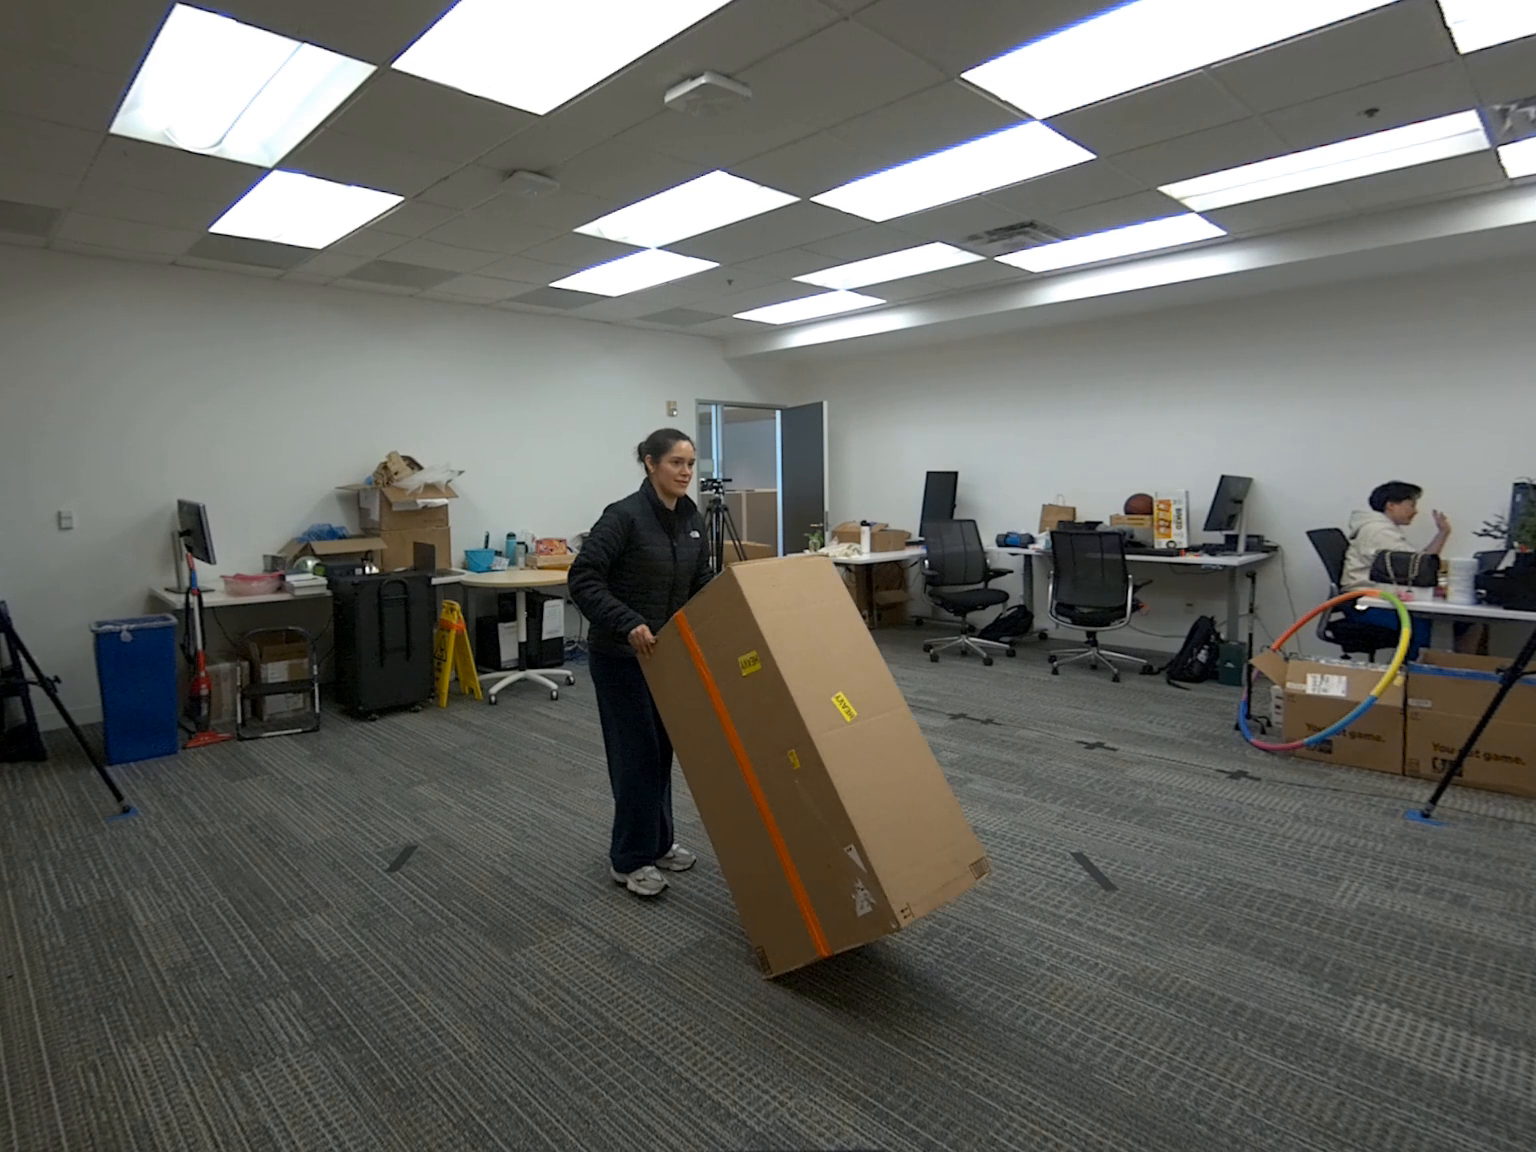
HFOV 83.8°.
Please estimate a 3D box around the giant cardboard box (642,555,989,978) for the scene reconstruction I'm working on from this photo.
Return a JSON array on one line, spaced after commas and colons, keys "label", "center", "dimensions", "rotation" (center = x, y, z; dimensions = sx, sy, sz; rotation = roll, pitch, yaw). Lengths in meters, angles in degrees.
[{"label": "giant cardboard box", "center": [0.092, 0.527, 2.545], "dimensions": [0.435, 1.053, 0.585], "rotation": [-6, -28, -42]}]
